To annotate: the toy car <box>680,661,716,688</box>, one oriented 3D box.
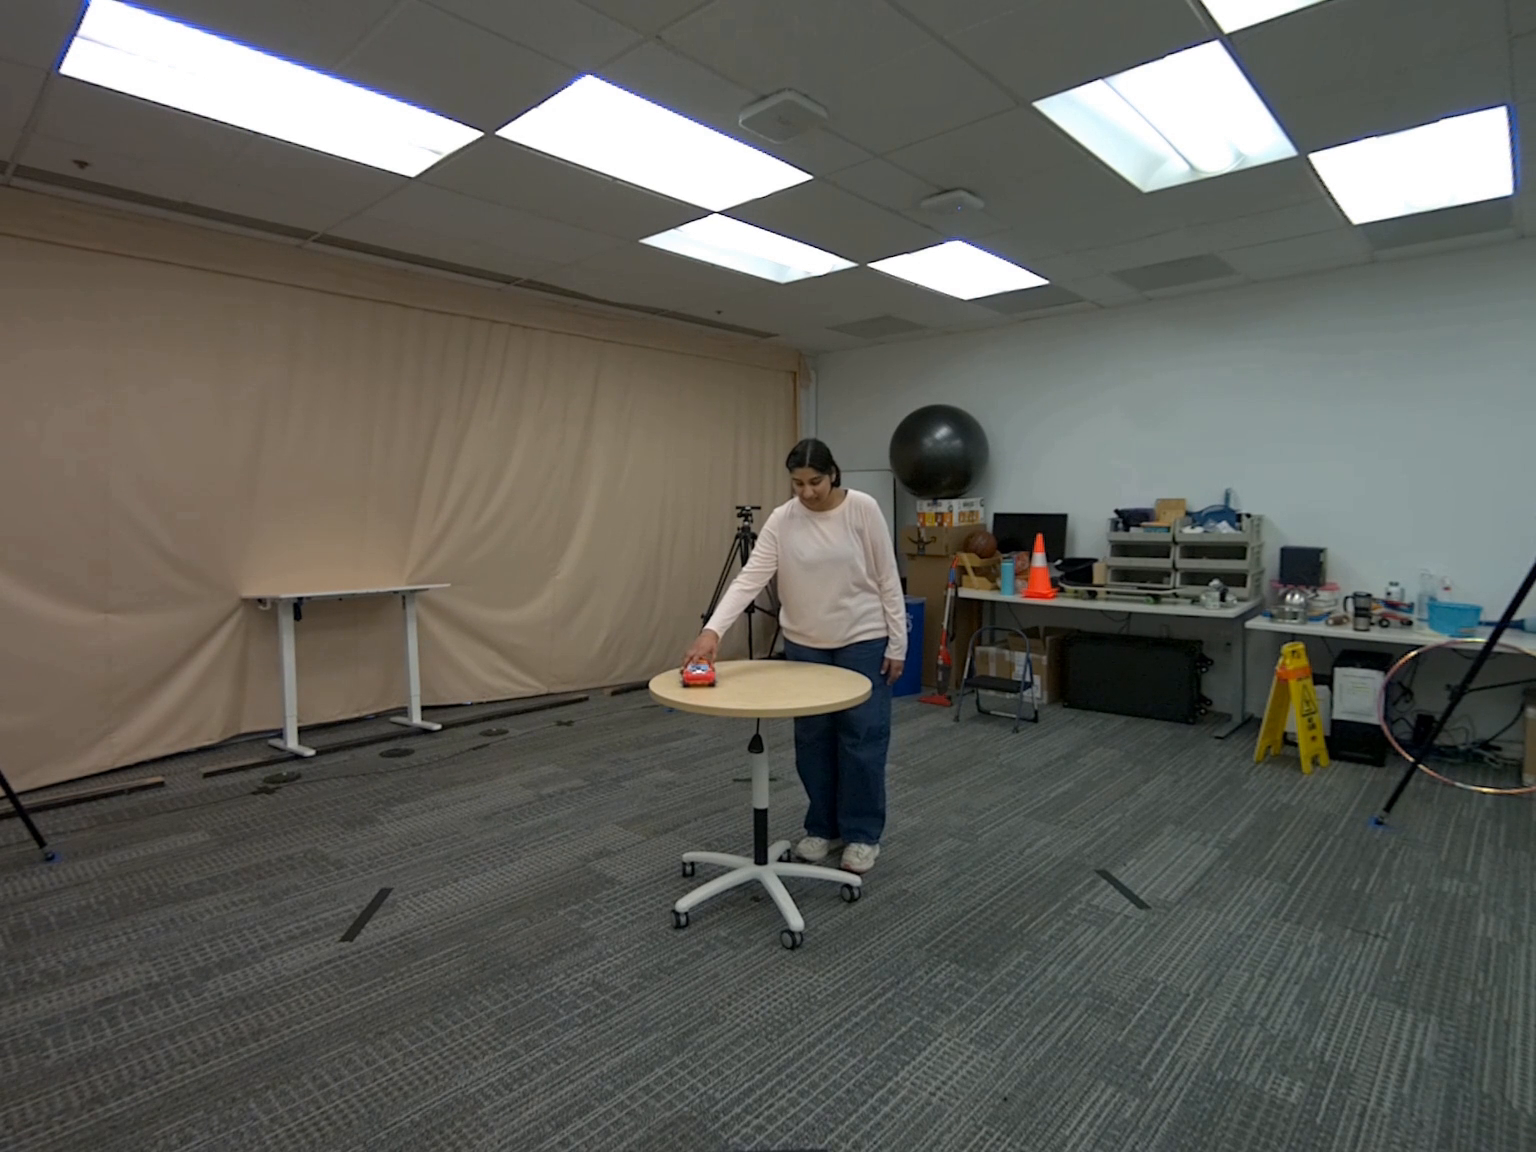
[{"bbox_3d":[-0.241,0.336,2.947,0.129,0.082,0.259,-2,17,-8],"label":"toy car"}]
